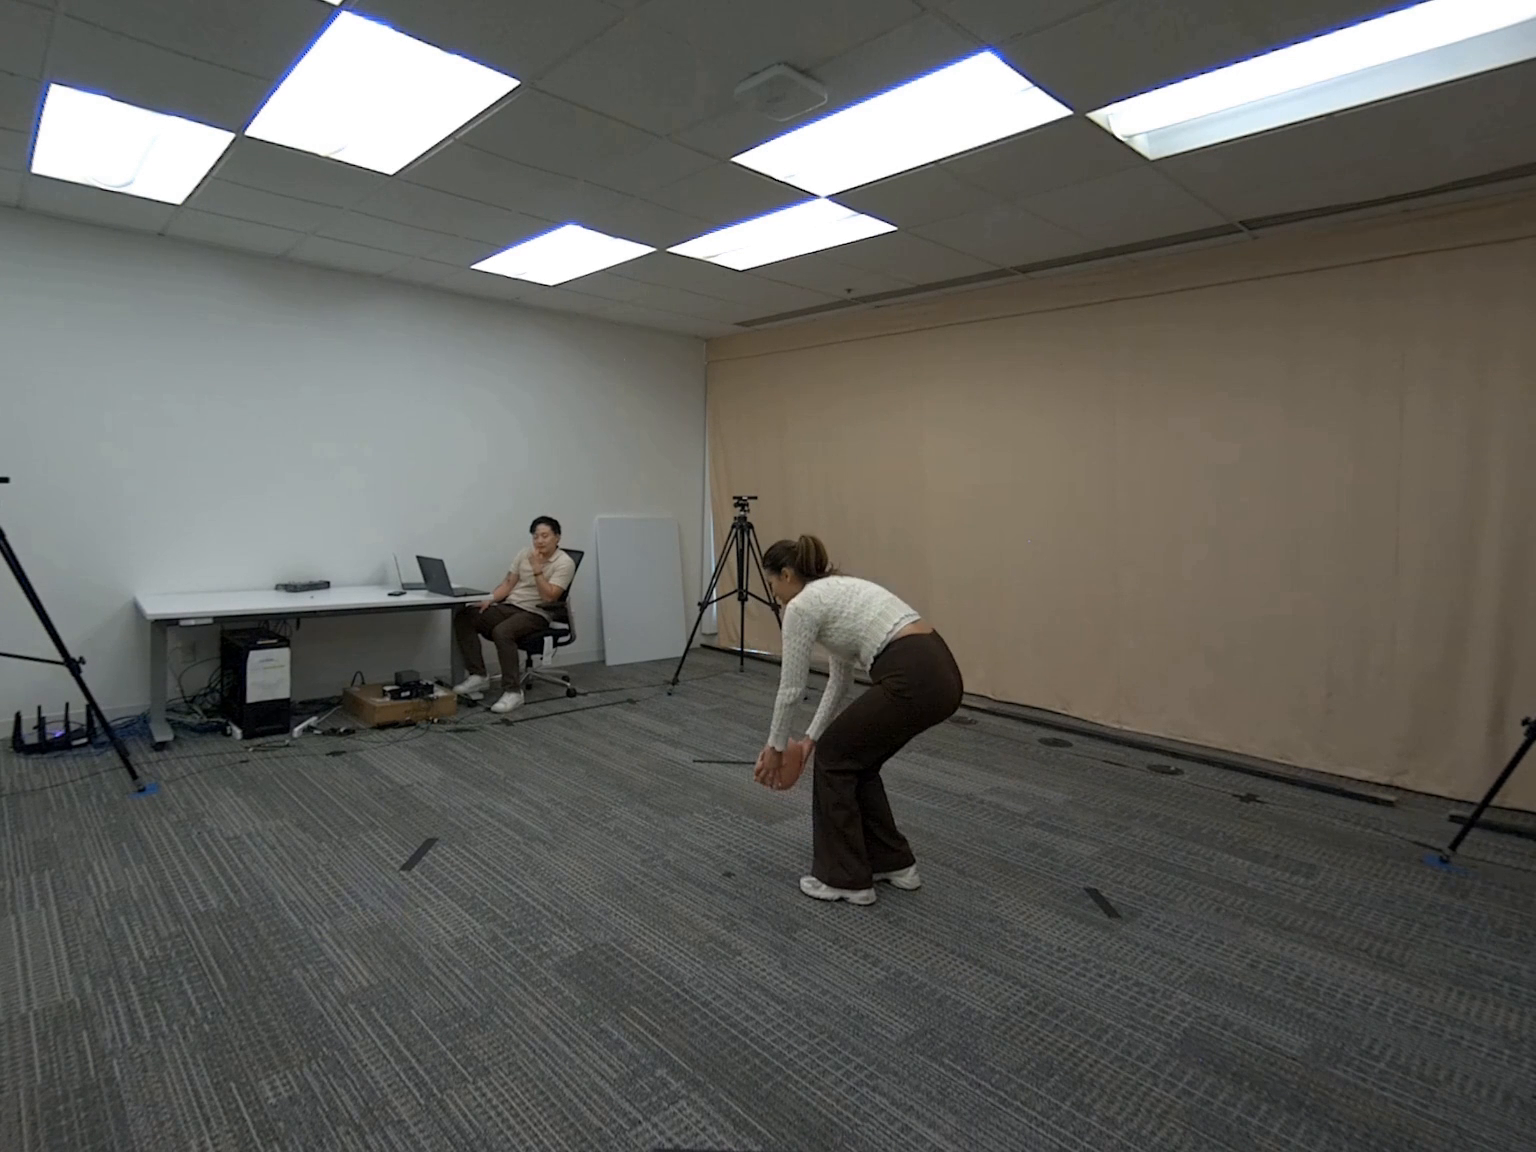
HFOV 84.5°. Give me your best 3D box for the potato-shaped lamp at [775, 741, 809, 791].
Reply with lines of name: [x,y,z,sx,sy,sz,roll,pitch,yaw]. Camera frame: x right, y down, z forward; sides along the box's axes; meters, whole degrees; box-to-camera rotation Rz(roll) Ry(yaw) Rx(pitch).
potato-shaped lamp: [0.040,0.704,3.231,0.167,0.198,0.169,14,-3,-40]
